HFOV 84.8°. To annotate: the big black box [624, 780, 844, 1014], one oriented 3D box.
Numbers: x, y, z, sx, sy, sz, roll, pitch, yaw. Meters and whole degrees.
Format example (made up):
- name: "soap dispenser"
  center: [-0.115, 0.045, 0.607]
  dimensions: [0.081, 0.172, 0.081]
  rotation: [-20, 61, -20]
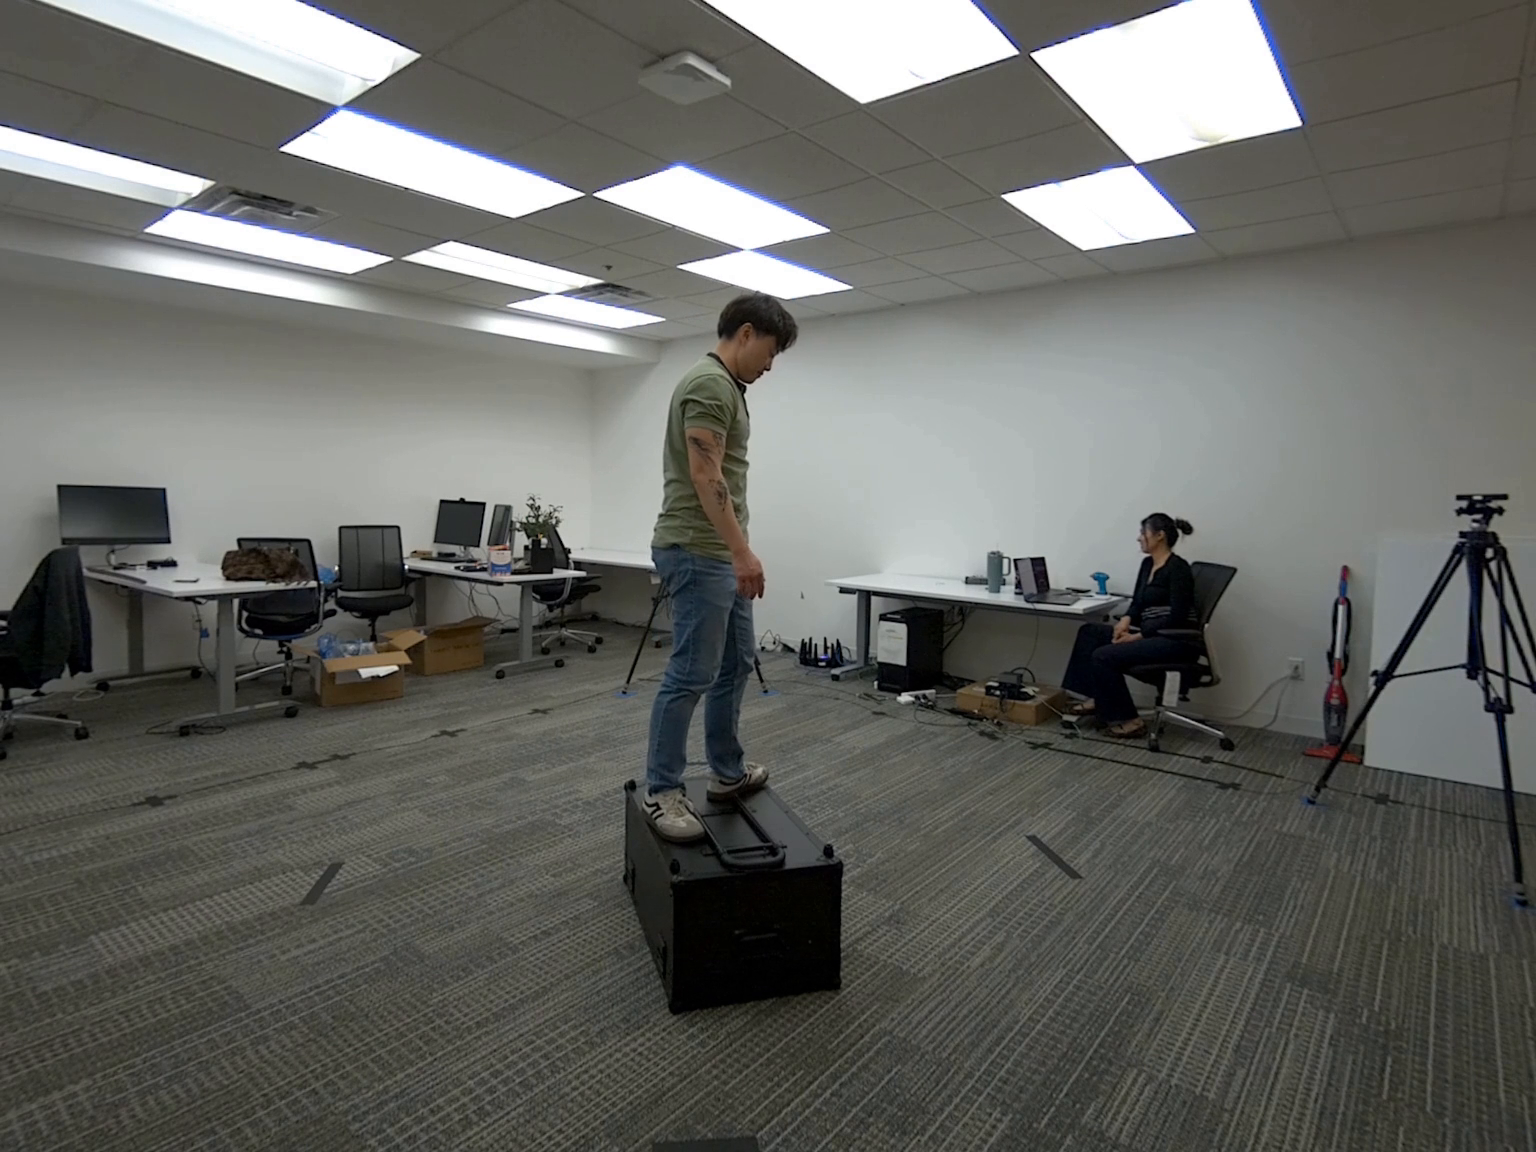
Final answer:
- name: "big black box"
  center: [-0.171, 0.915, 2.695]
  dimensions: [0.512, 0.395, 0.880]
  rotation: [-1, 4, -19]
